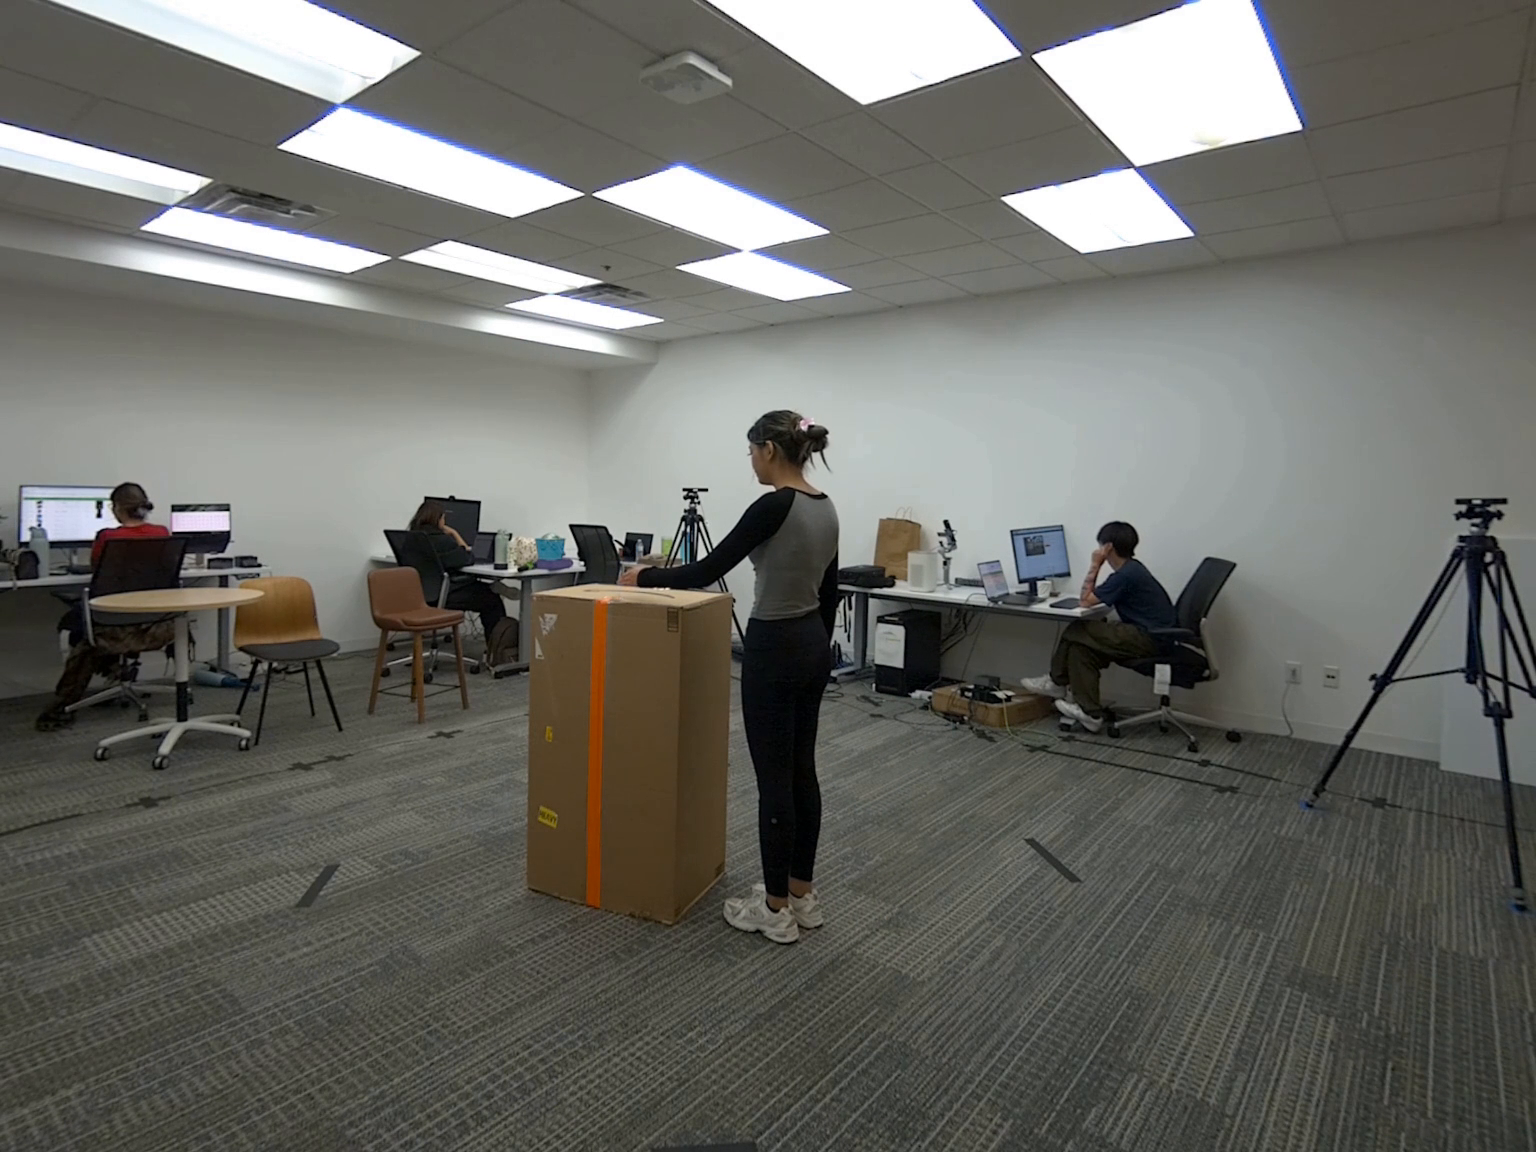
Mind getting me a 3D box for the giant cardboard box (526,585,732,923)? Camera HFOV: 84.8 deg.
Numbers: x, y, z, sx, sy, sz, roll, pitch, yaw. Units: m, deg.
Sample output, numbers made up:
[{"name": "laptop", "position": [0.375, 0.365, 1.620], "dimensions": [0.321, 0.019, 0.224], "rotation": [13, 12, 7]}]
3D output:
[{"name": "giant cardboard box", "position": [-0.493, 0.571, 2.978], "dimensions": [0.598, 1.025, 0.437], "rotation": [3, 2, 22]}]
